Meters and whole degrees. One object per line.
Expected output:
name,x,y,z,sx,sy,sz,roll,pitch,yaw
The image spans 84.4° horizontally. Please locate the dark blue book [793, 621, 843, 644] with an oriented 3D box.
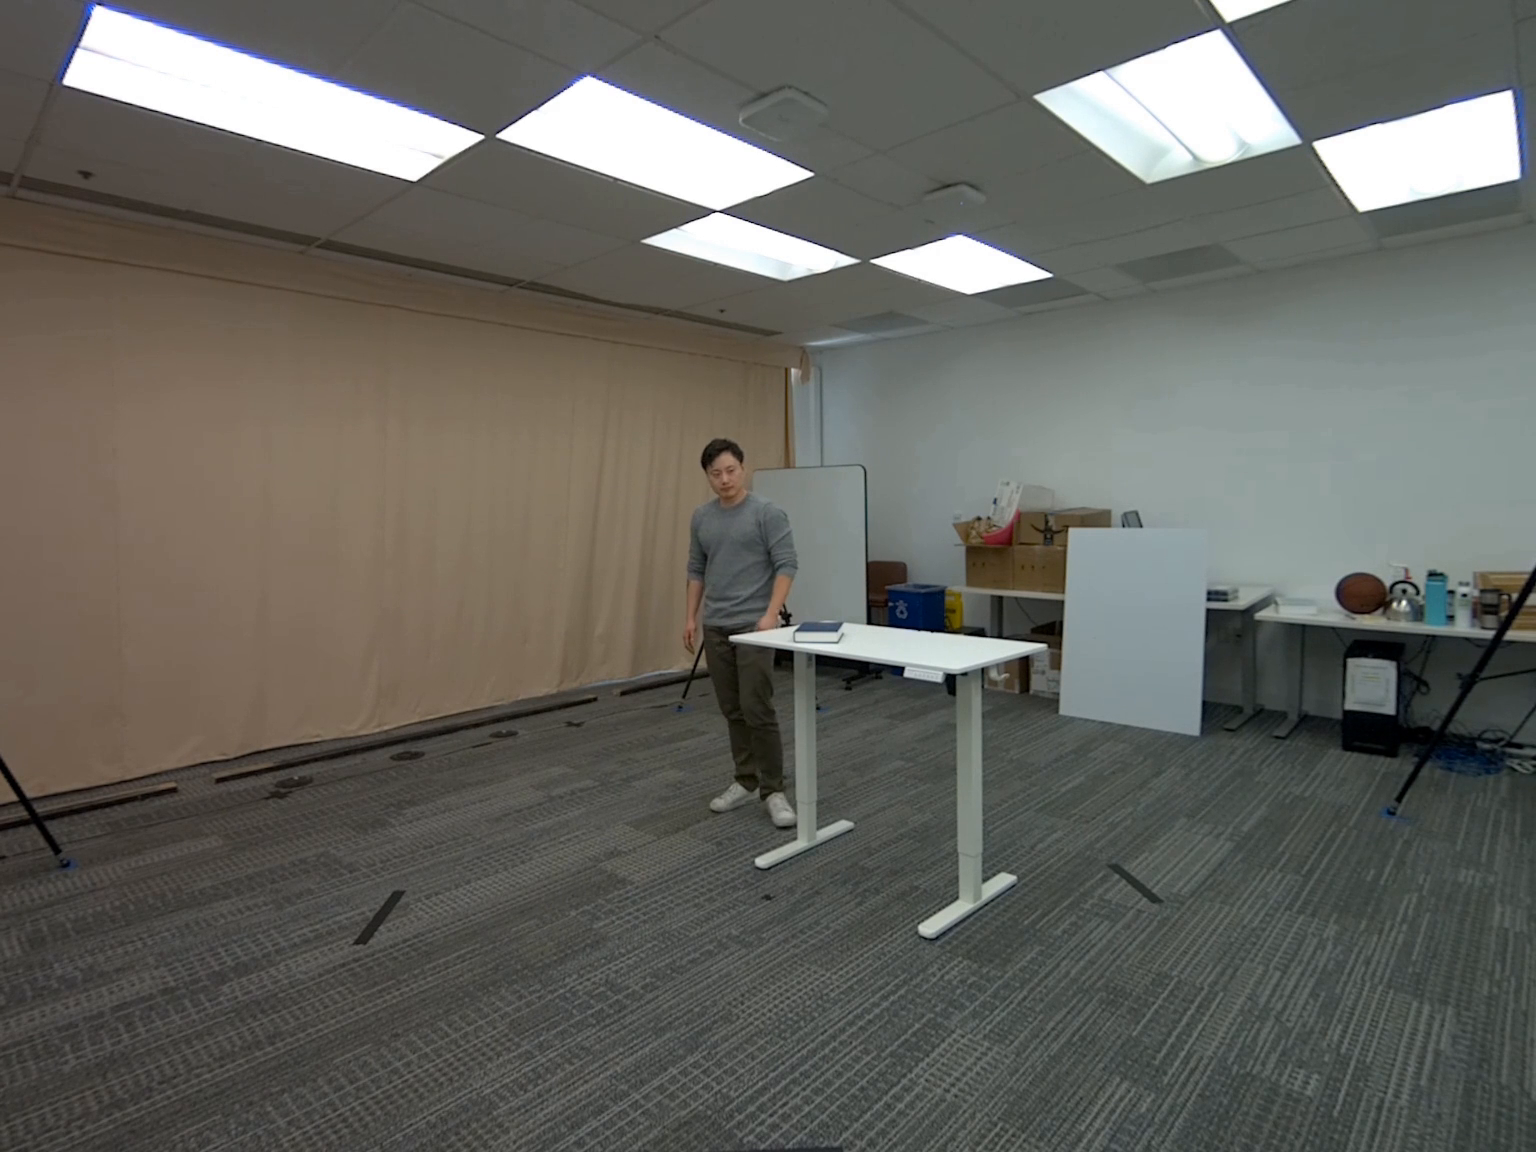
dark blue book,0.199,0.213,3.202,0.166,0.045,0.242,-1,5,13
